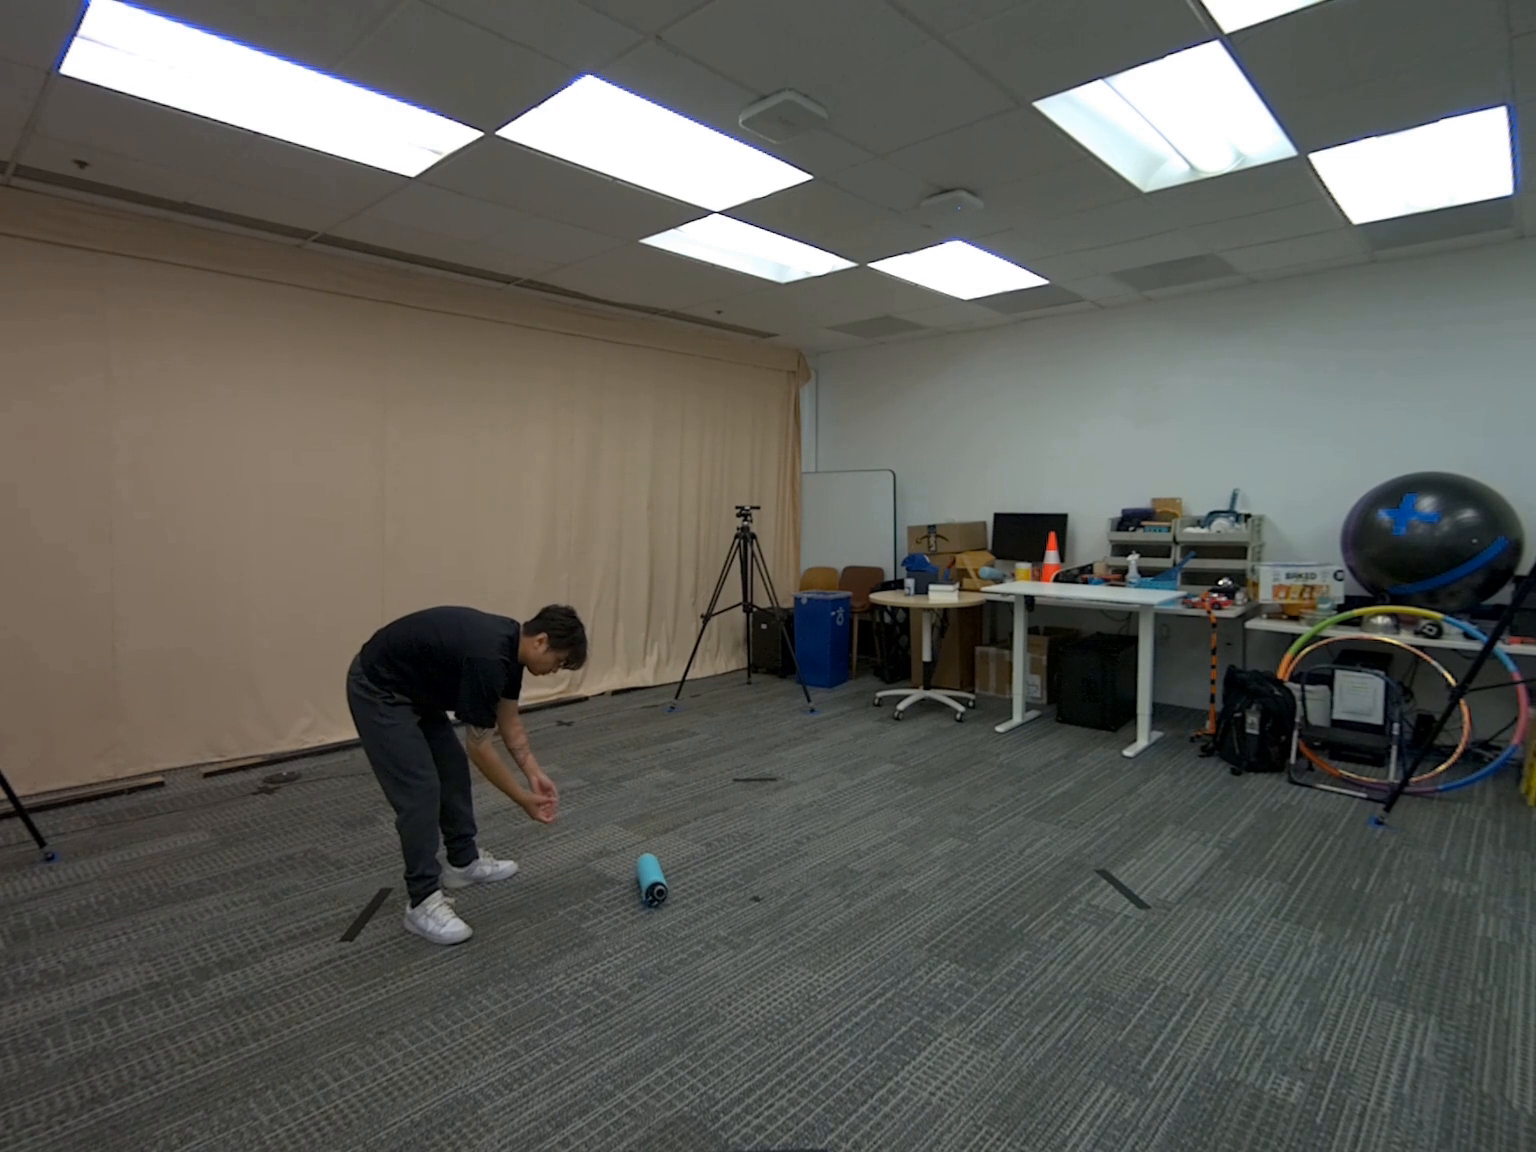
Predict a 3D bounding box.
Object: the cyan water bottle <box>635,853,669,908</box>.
[{"bbox_3d":[-0.420,1.094,3.033,0.091,0.092,0.288,-1,5,-14],"label":"cyan water bottle"}]
